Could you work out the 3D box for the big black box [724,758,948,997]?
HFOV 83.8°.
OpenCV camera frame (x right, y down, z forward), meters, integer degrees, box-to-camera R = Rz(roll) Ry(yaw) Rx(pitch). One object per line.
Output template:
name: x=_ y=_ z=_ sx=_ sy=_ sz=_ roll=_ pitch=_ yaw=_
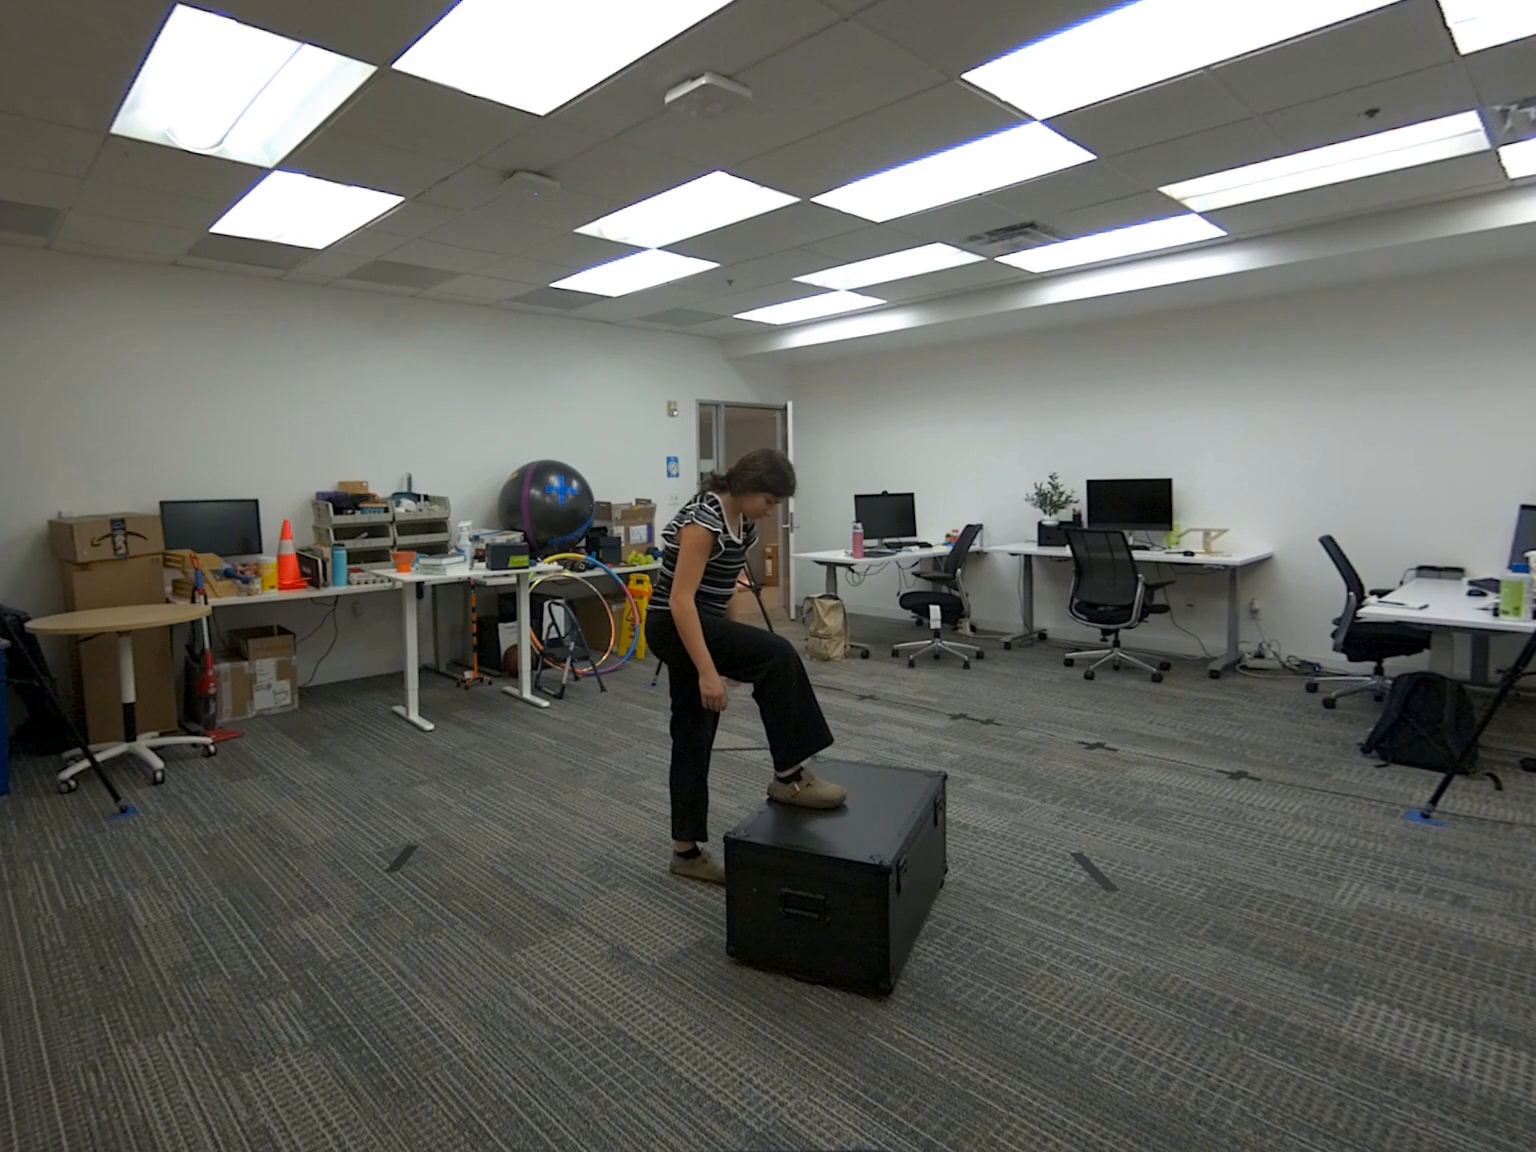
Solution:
big black box: x=0.264 y=0.892 z=2.730 sx=0.533 sy=0.394 sz=0.846 roll=0 pitch=6 yaw=23
